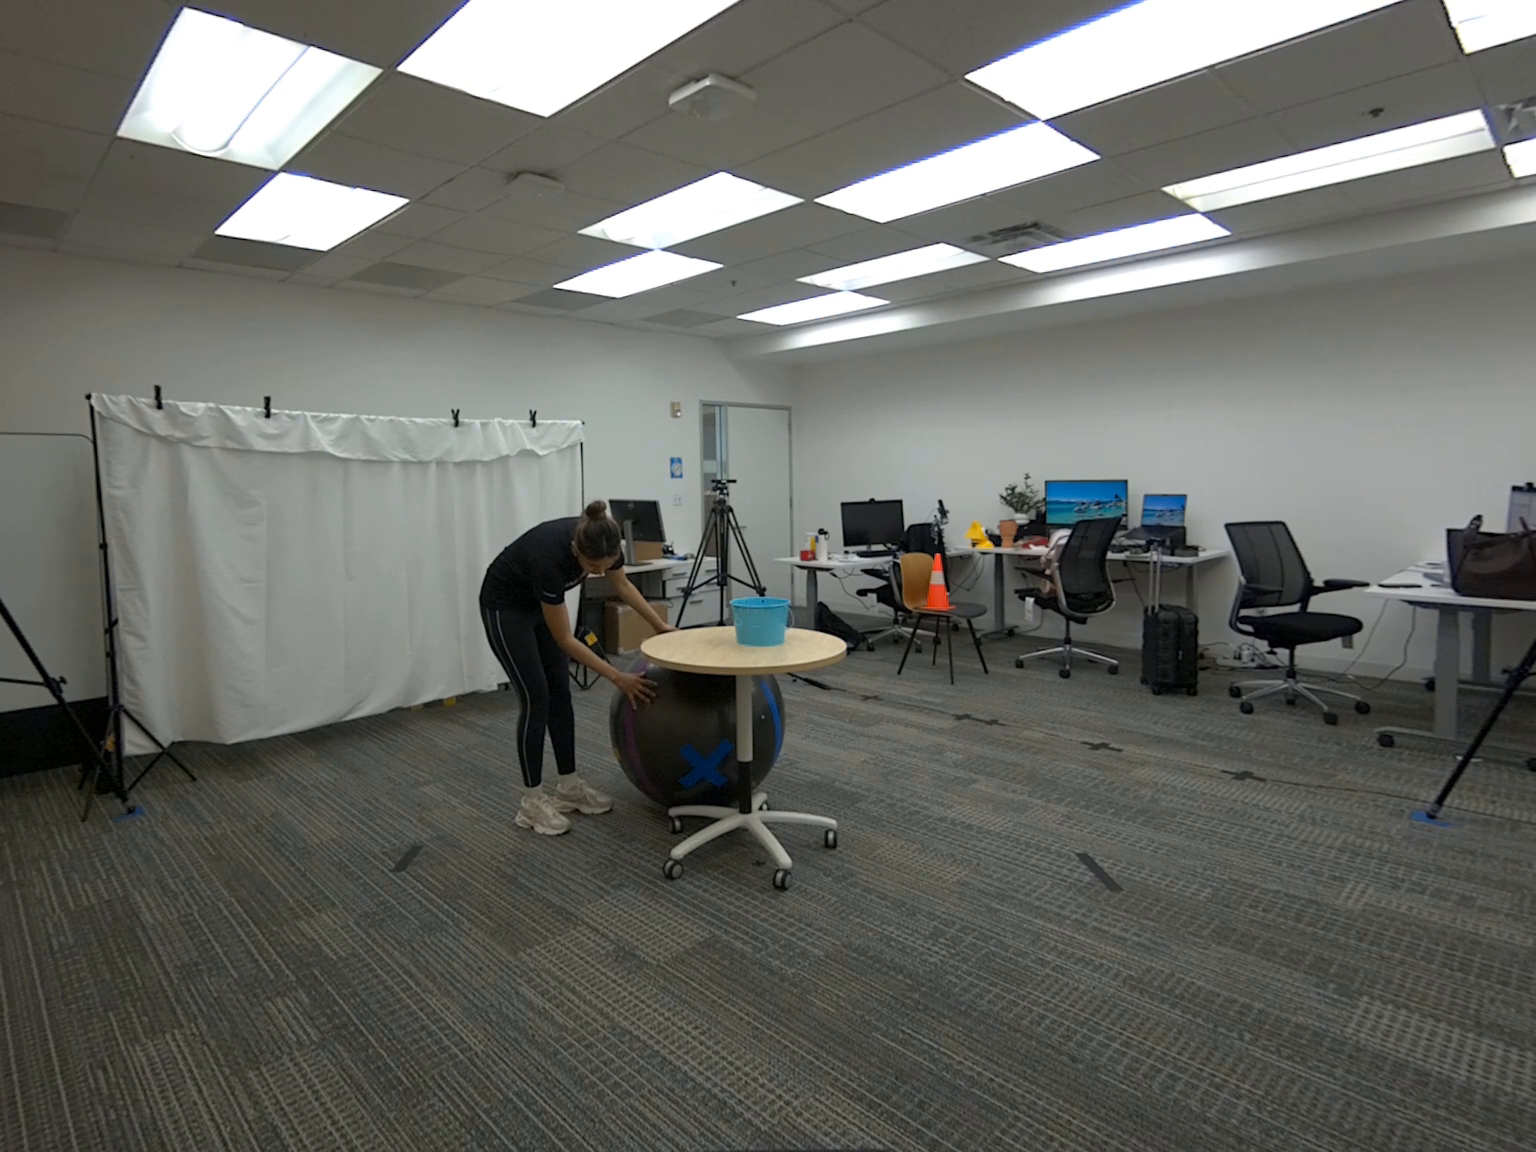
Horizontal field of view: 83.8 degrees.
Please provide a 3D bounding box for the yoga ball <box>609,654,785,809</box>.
[{"bbox_3d":[-0.305,0.622,3.685,0.757,0.755,0.762,-1,5,-2],"label":"yoga ball"}]
